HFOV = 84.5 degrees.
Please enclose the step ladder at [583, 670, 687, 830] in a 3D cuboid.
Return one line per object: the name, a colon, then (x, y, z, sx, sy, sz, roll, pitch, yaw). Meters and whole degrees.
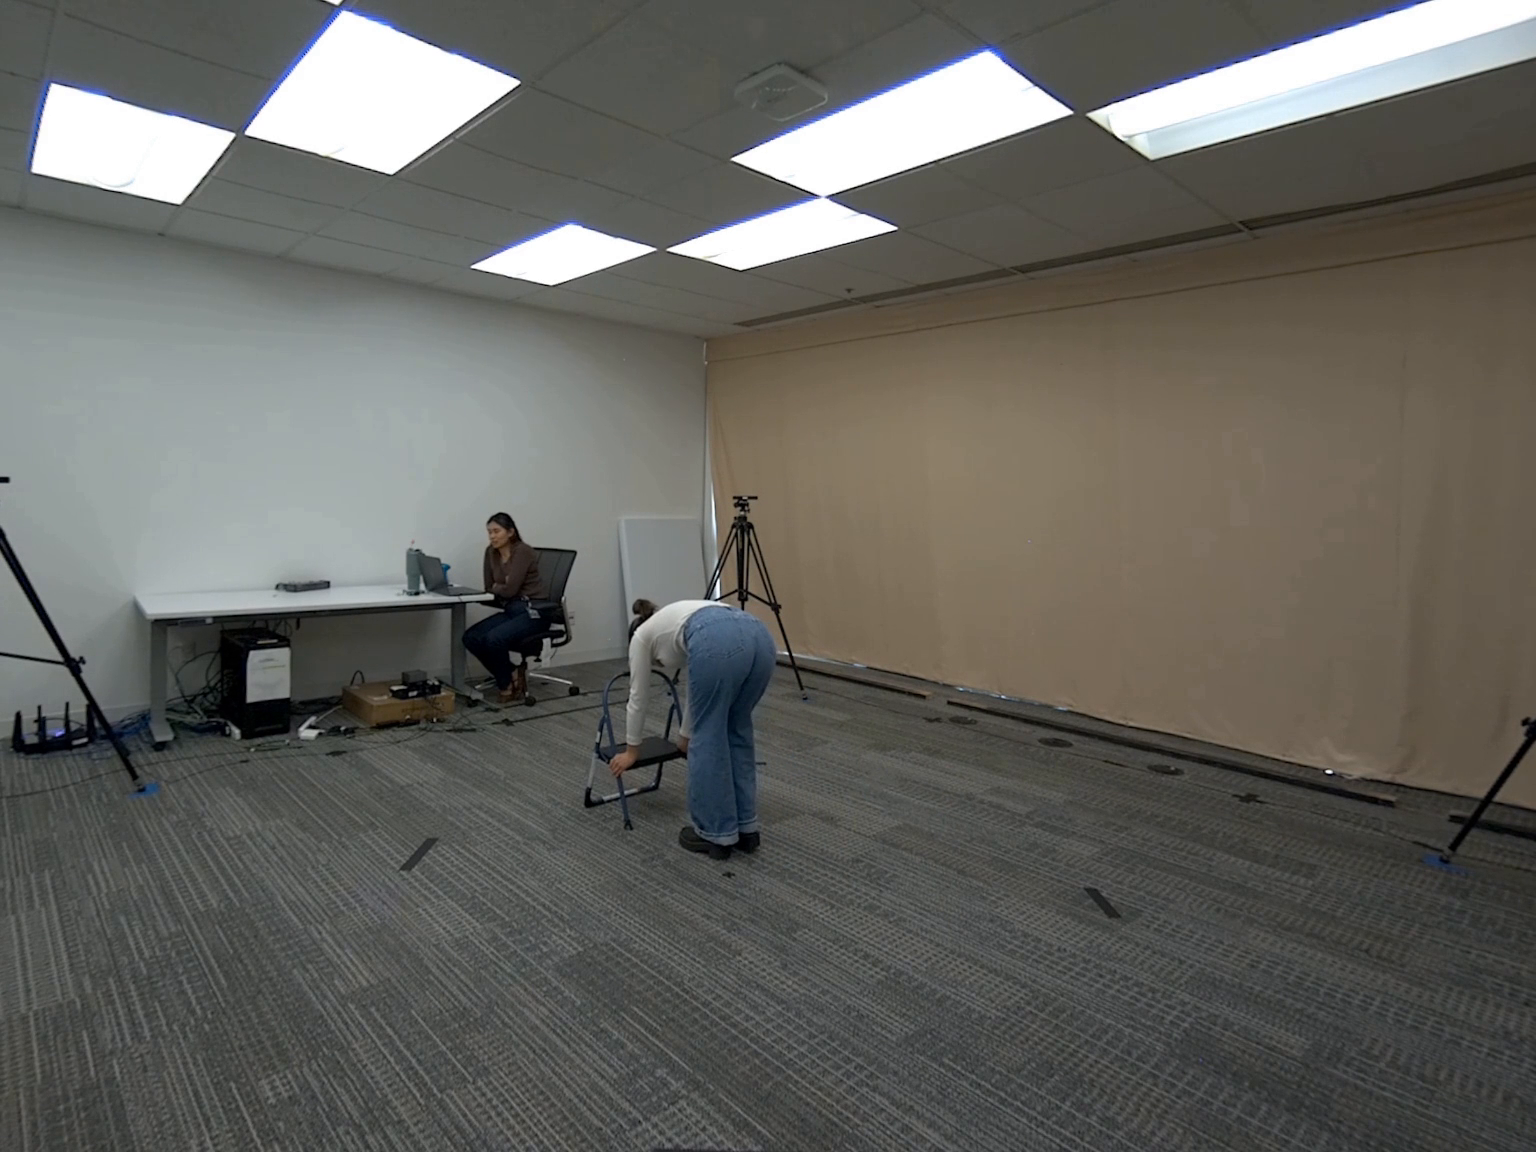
step ladder: (-0.557, 0.735, 3.754, 0.358, 0.605, 0.421, 5, 5, 45)
